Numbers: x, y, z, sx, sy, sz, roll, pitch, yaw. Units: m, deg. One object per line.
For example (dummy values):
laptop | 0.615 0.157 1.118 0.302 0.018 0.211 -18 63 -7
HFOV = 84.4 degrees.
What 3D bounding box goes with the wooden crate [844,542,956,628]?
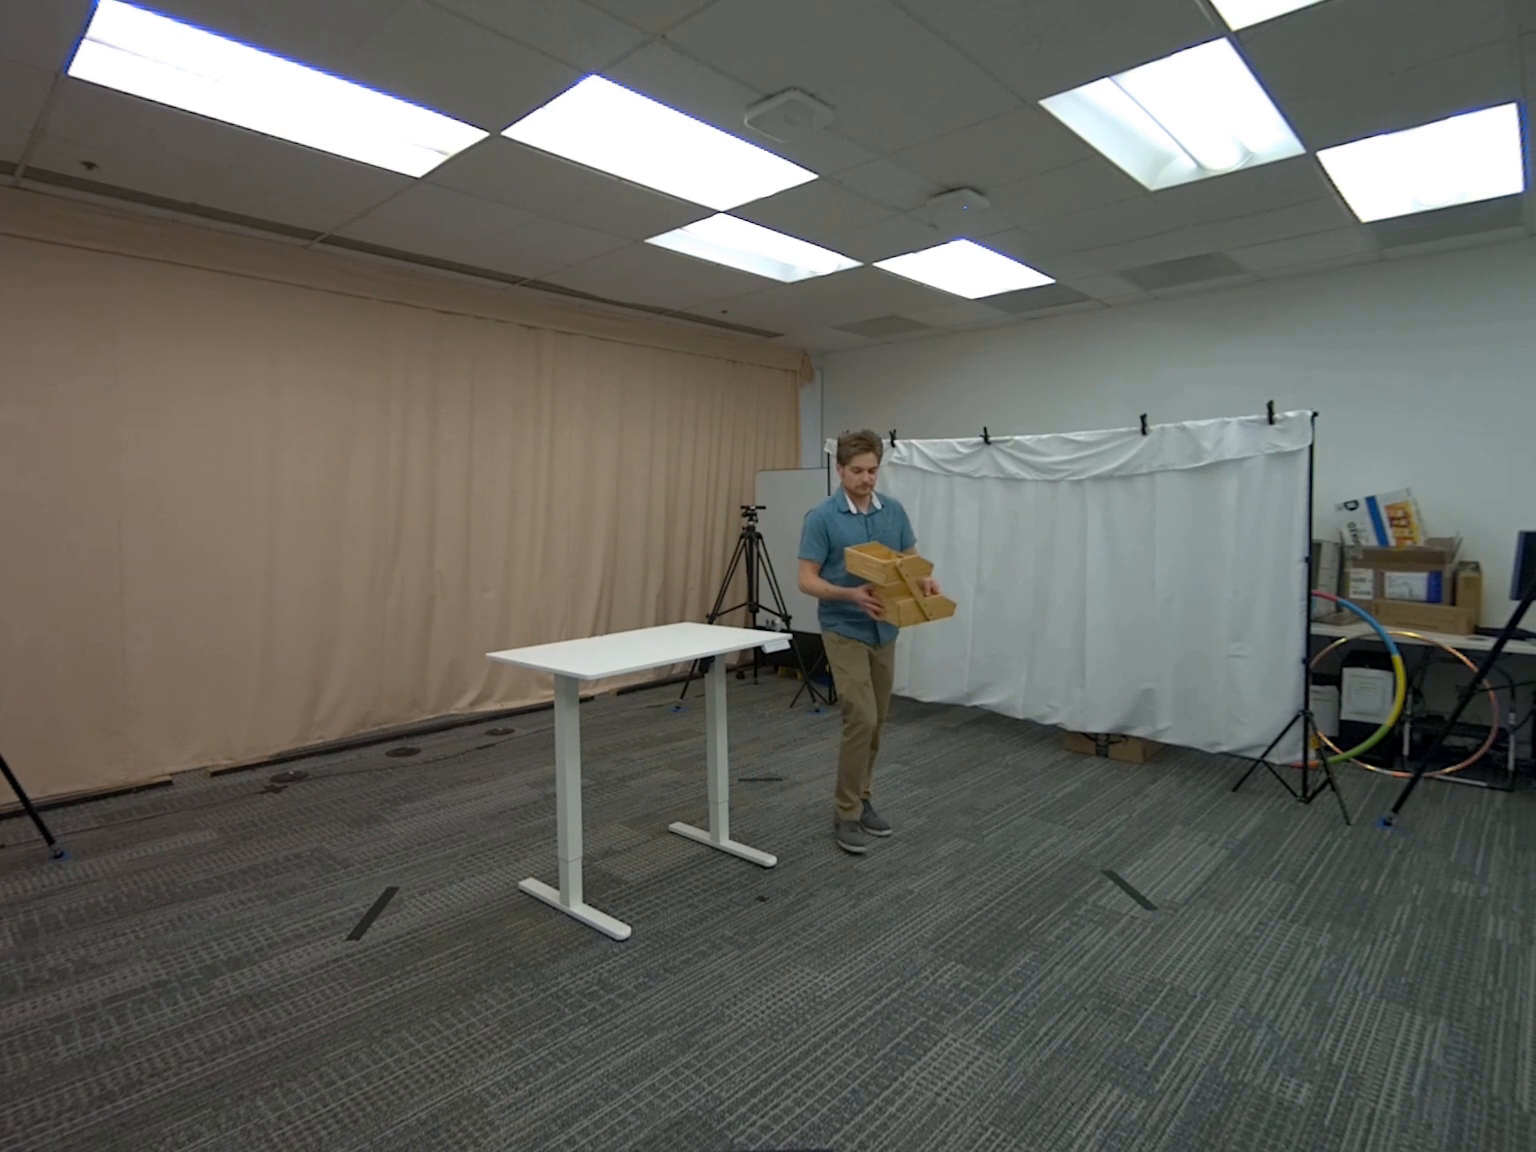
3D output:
wooden crate | 0.502 0.018 3.243 0.297 0.271 0.333 -10 14 -20
